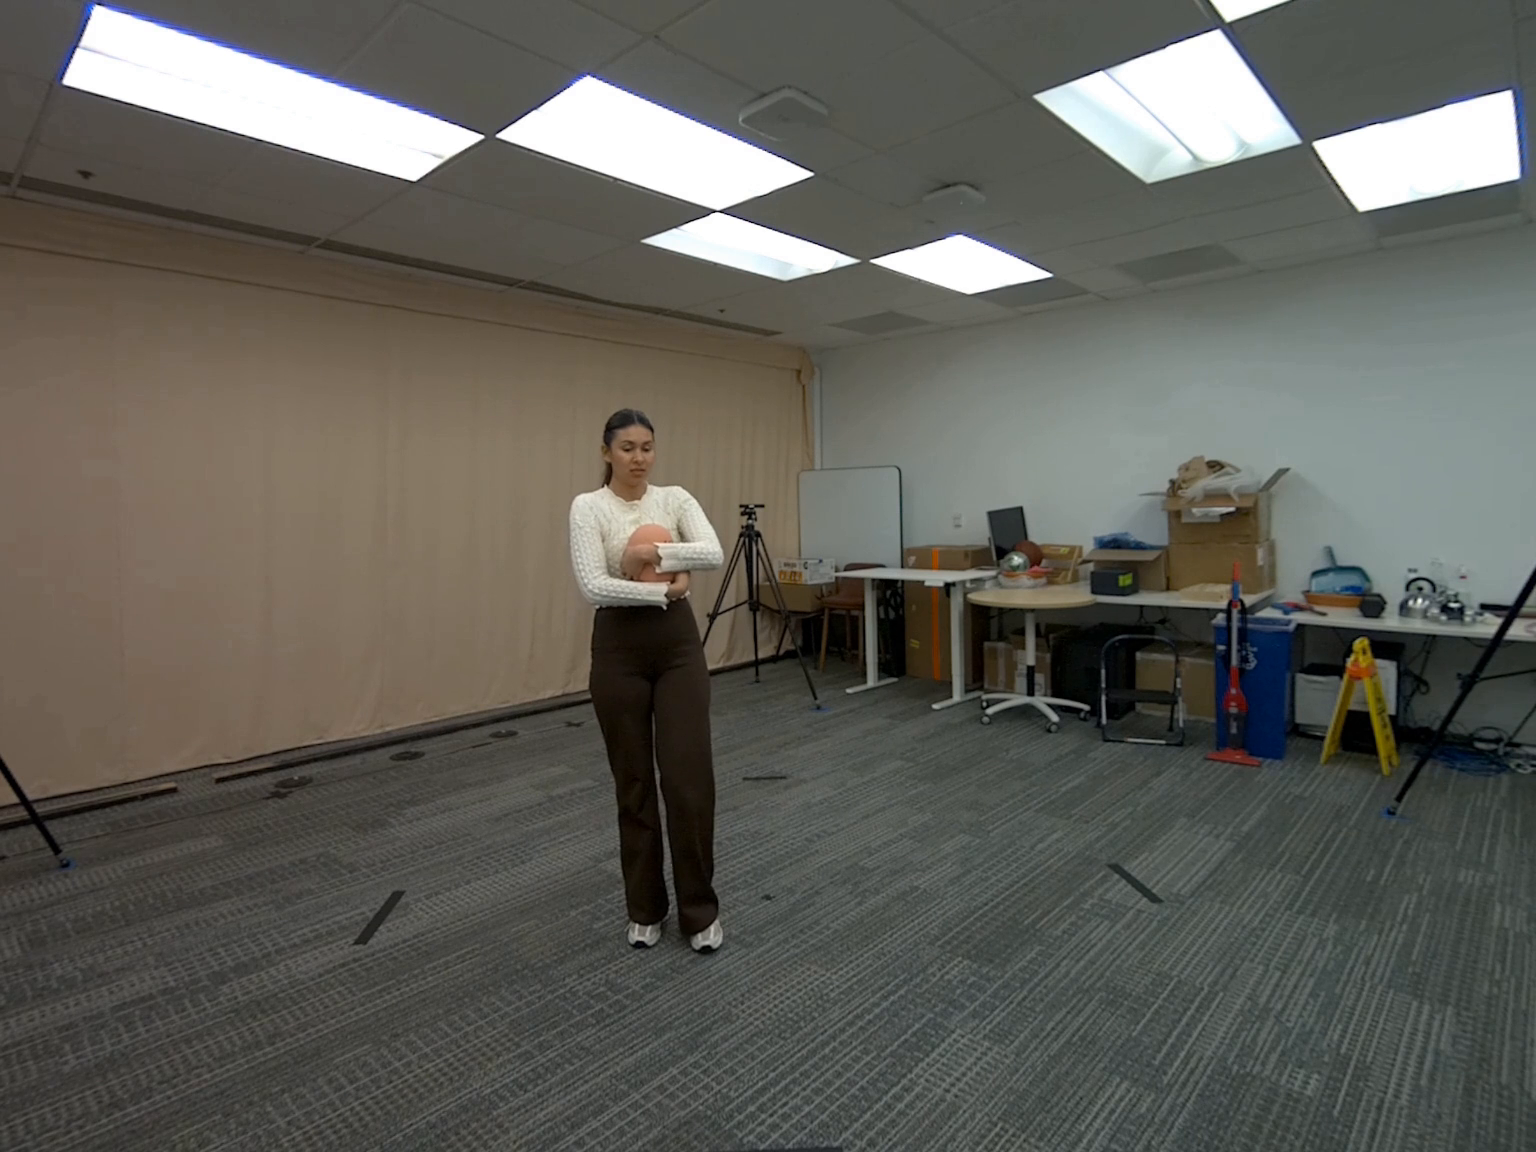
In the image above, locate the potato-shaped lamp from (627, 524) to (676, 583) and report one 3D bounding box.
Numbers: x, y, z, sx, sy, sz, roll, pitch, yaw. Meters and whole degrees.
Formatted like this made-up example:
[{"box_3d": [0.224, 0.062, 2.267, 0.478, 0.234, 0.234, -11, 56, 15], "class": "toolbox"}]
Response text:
[{"box_3d": [-0.364, -0.060, 2.648, 0.174, 0.198, 0.162, 13, 2, 13], "class": "potato-shaped lamp"}]
